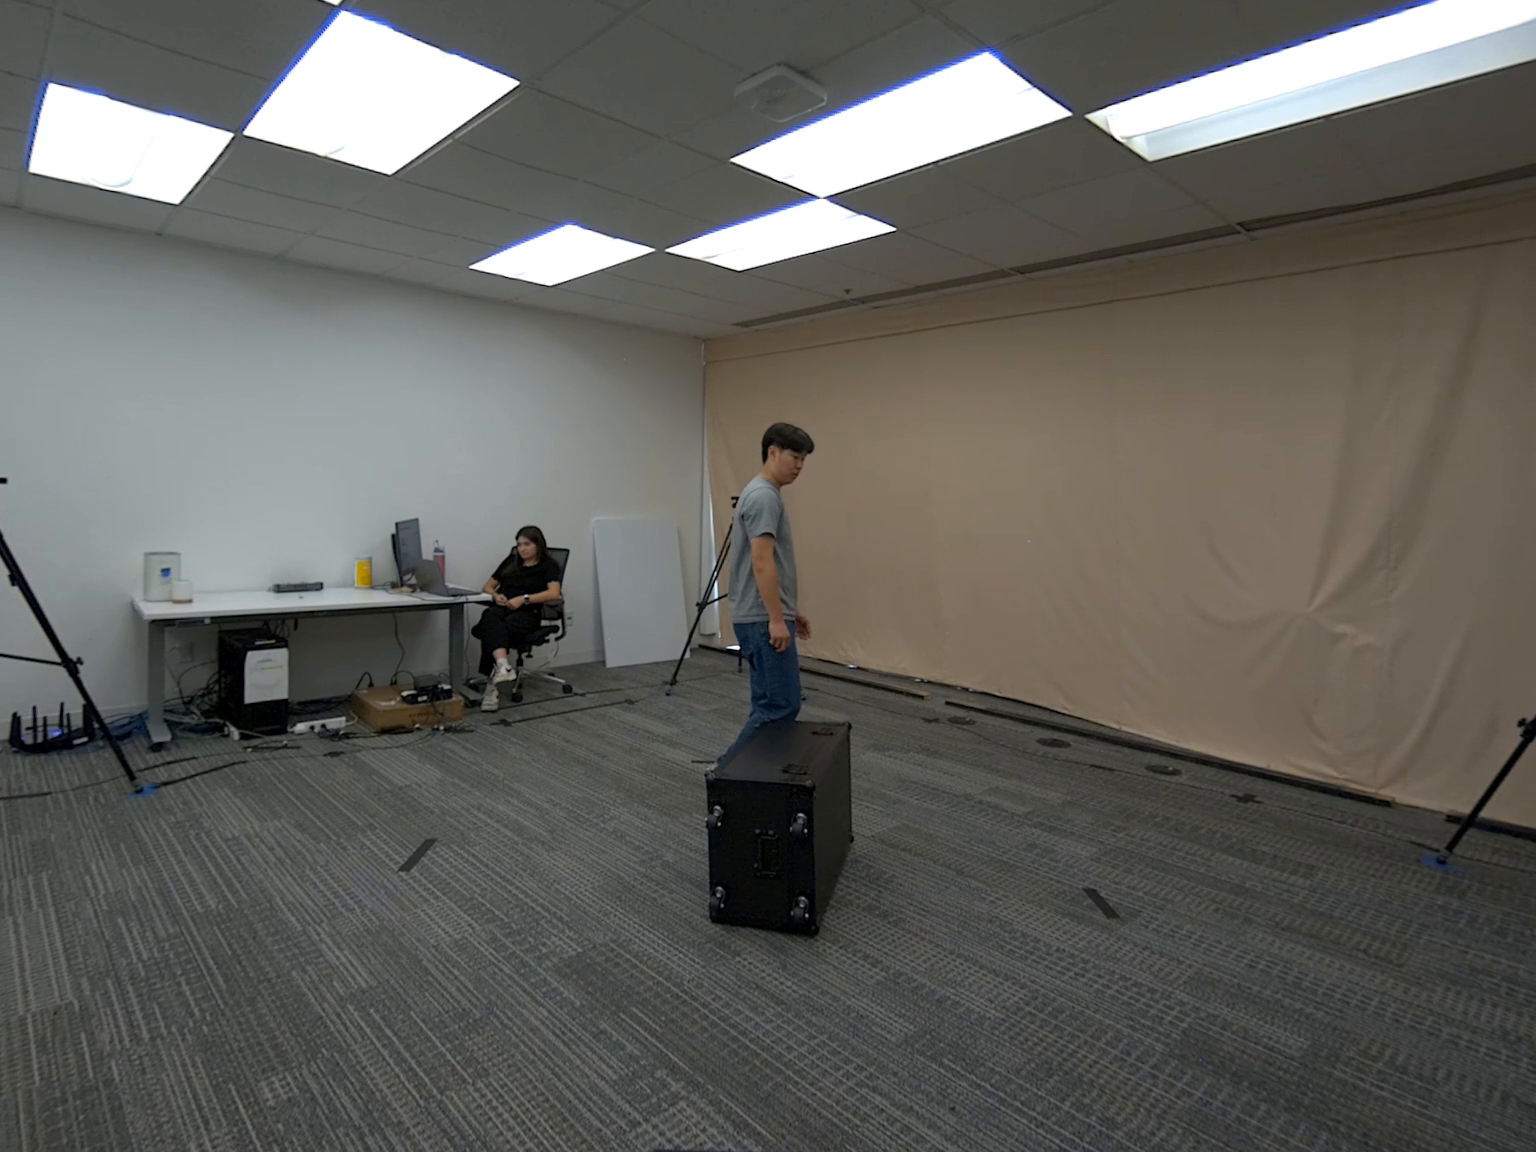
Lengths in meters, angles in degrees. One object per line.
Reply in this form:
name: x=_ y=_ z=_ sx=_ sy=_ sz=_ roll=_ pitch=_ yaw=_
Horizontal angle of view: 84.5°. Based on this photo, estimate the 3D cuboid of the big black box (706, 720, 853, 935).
big black box: x=0.044 y=0.859 z=3.036 sx=0.401 sy=0.520 sz=0.853 roll=-1 pitch=4 yaw=14
